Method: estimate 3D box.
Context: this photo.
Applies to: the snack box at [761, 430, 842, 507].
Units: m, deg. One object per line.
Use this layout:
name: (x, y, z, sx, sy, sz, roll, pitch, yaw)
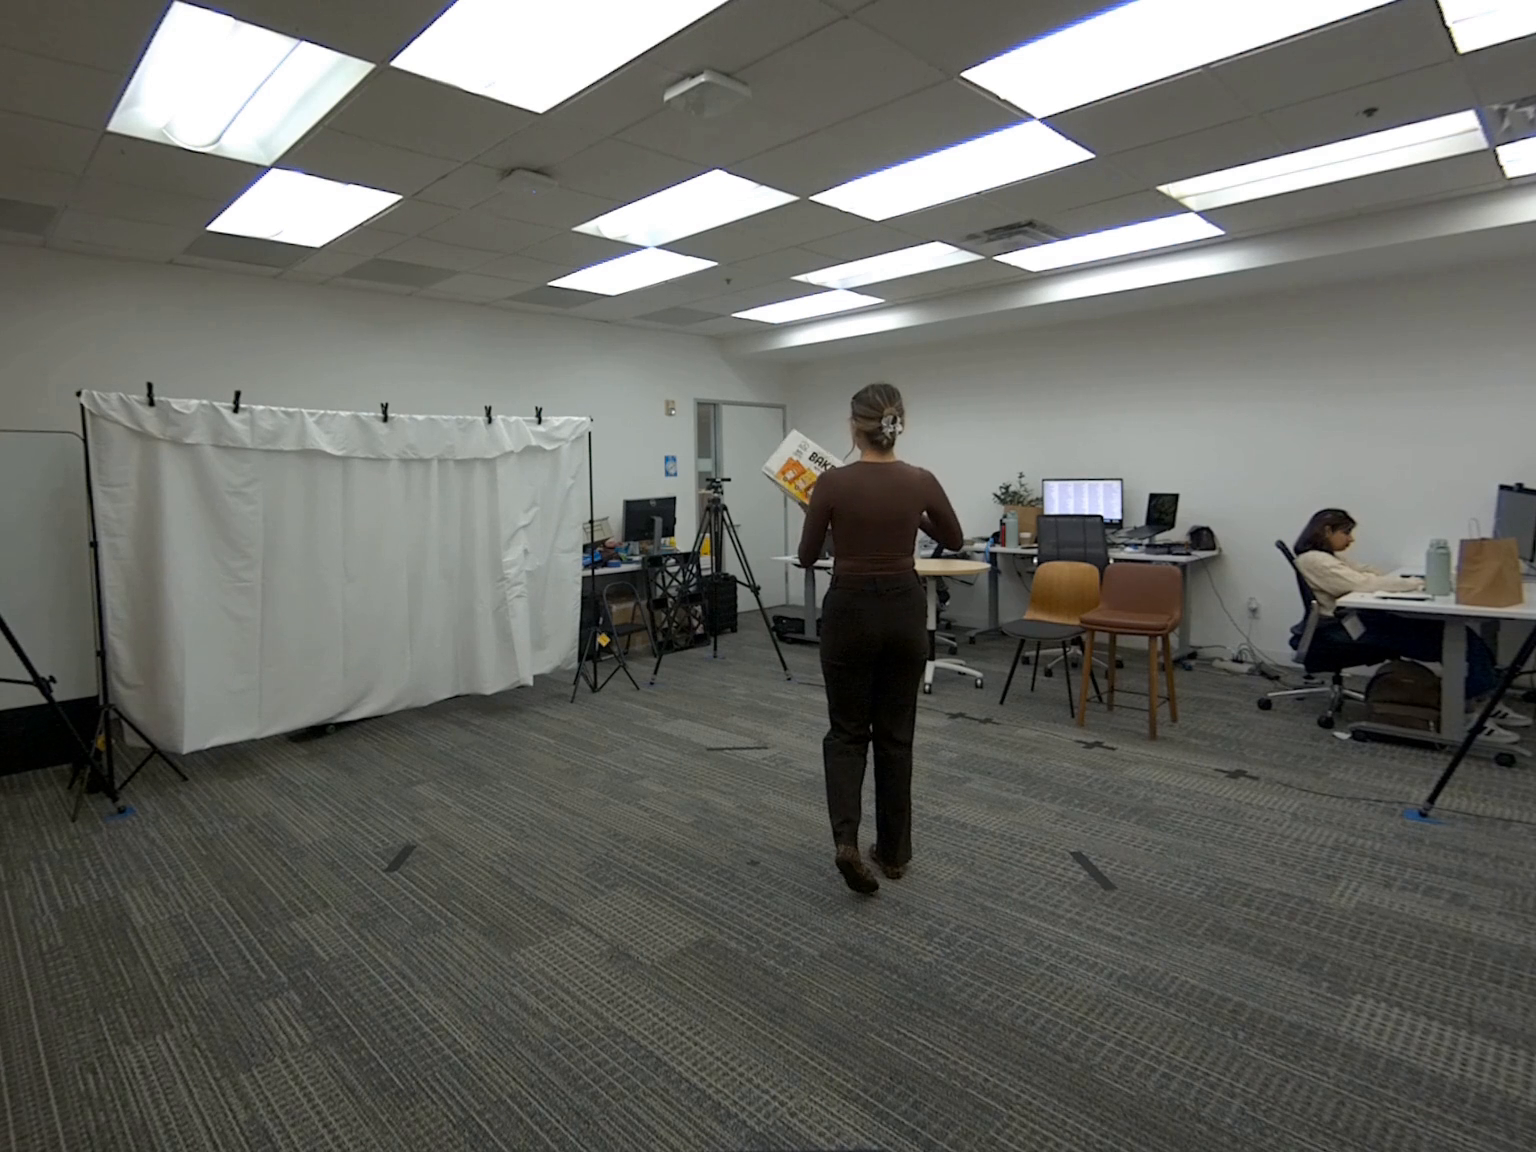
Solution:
snack box: (0.235, -0.327, 3.309, 0.418, 0.205, 0.330, 39, 1, 24)
